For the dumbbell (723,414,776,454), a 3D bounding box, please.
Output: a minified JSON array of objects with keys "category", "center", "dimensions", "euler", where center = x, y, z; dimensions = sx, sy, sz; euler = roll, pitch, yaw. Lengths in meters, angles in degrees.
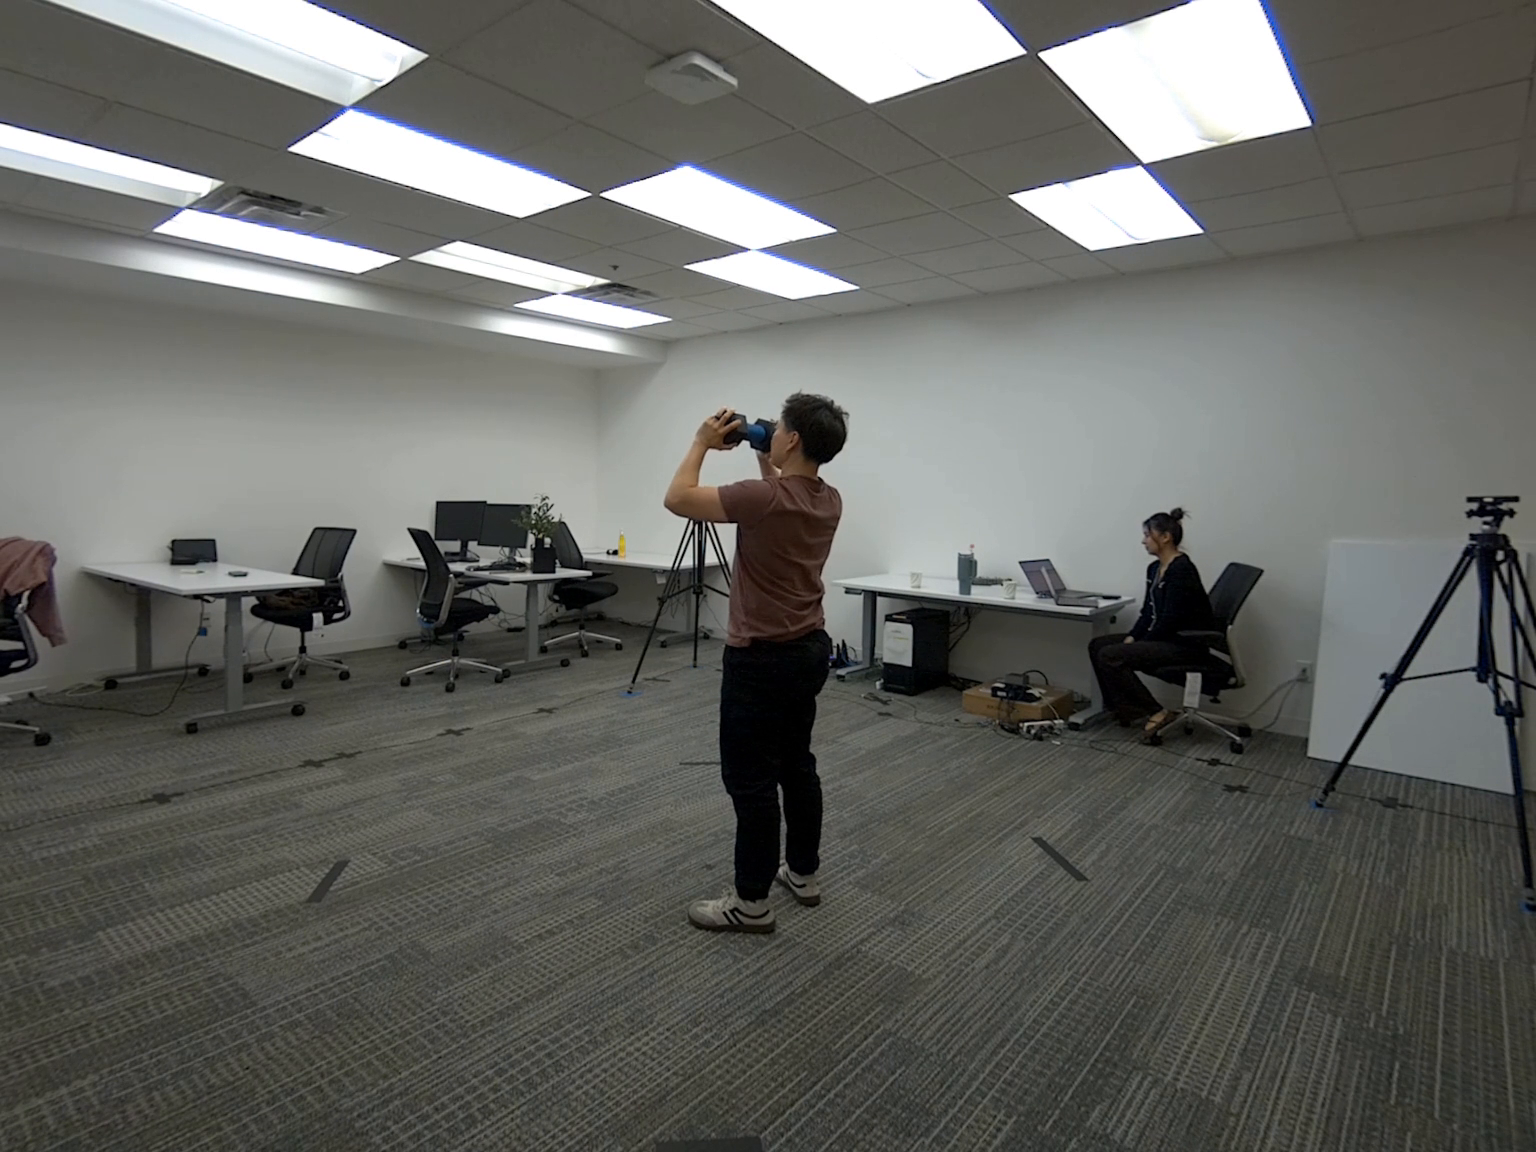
[{"category":"dumbbell","center":[-0.076,-0.488,2.849],"dimensions":[0.123,0.112,0.284],"euler":[-48,-26,26]}]
